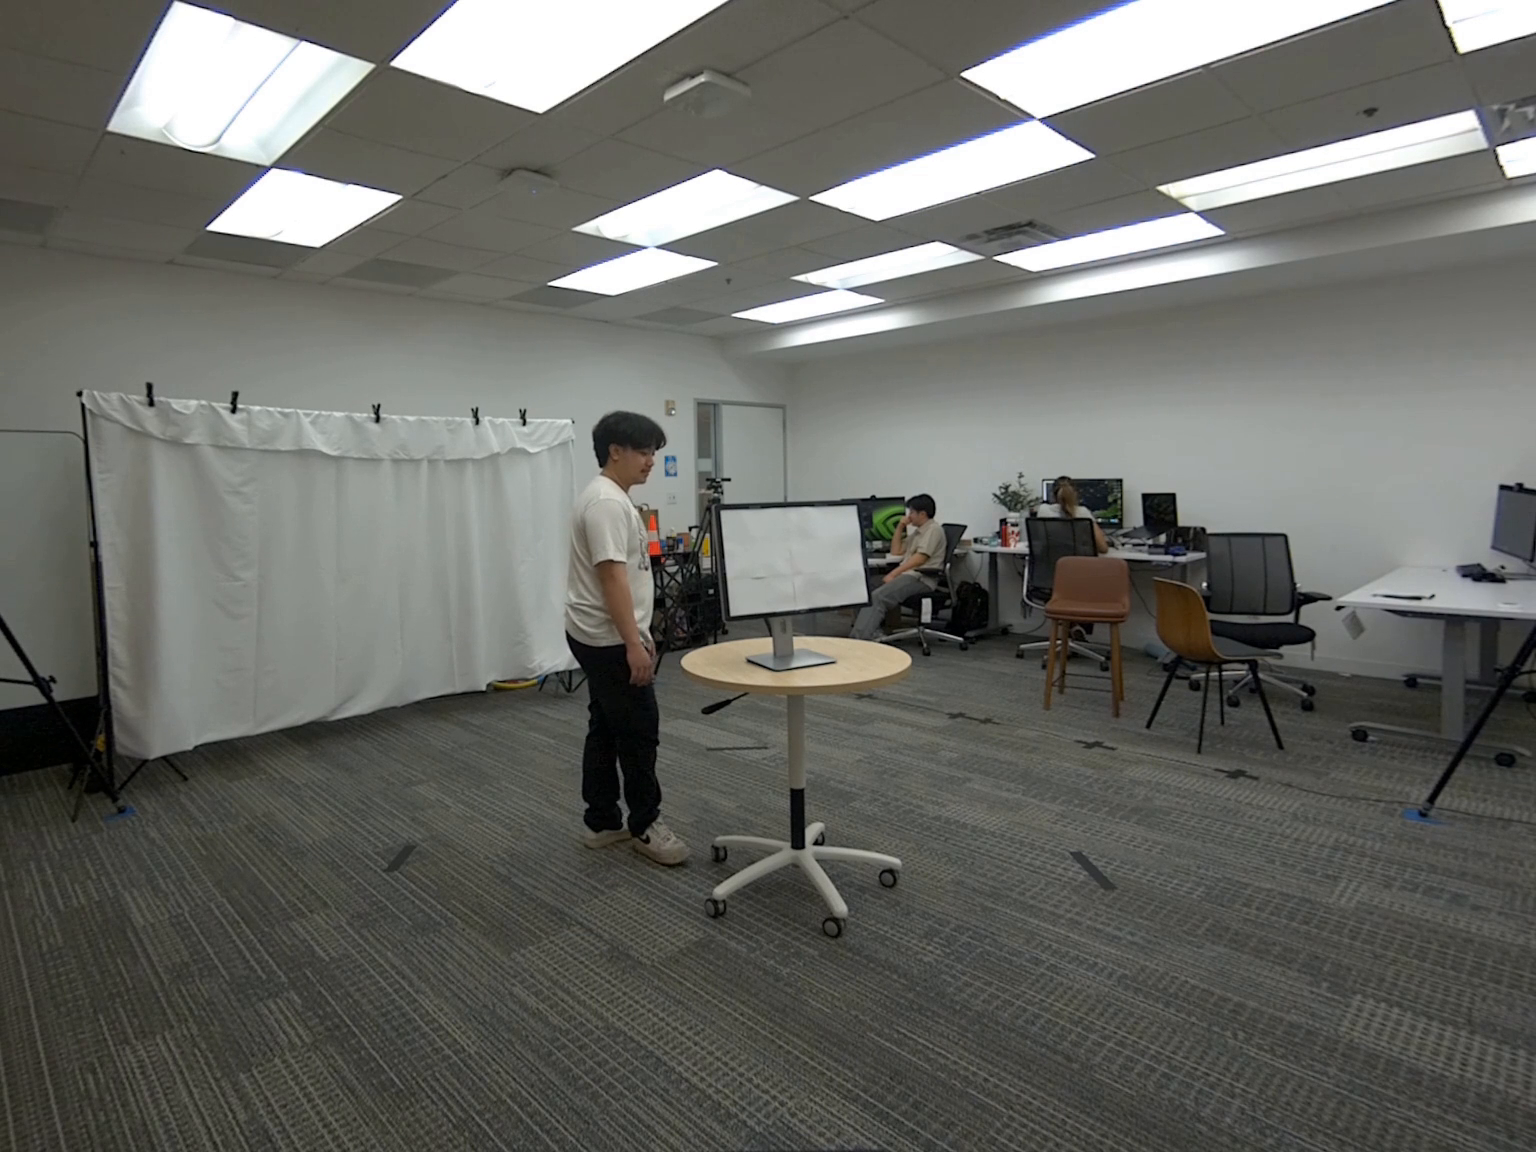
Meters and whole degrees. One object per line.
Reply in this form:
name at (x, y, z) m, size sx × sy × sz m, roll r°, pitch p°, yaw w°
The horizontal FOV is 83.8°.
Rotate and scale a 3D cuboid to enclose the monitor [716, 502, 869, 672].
monitor at (0.062, 0.026, 2.817) m, size 0.552 × 0.554 × 0.215 m, roll -4°, pitch 1°, yaw -30°
